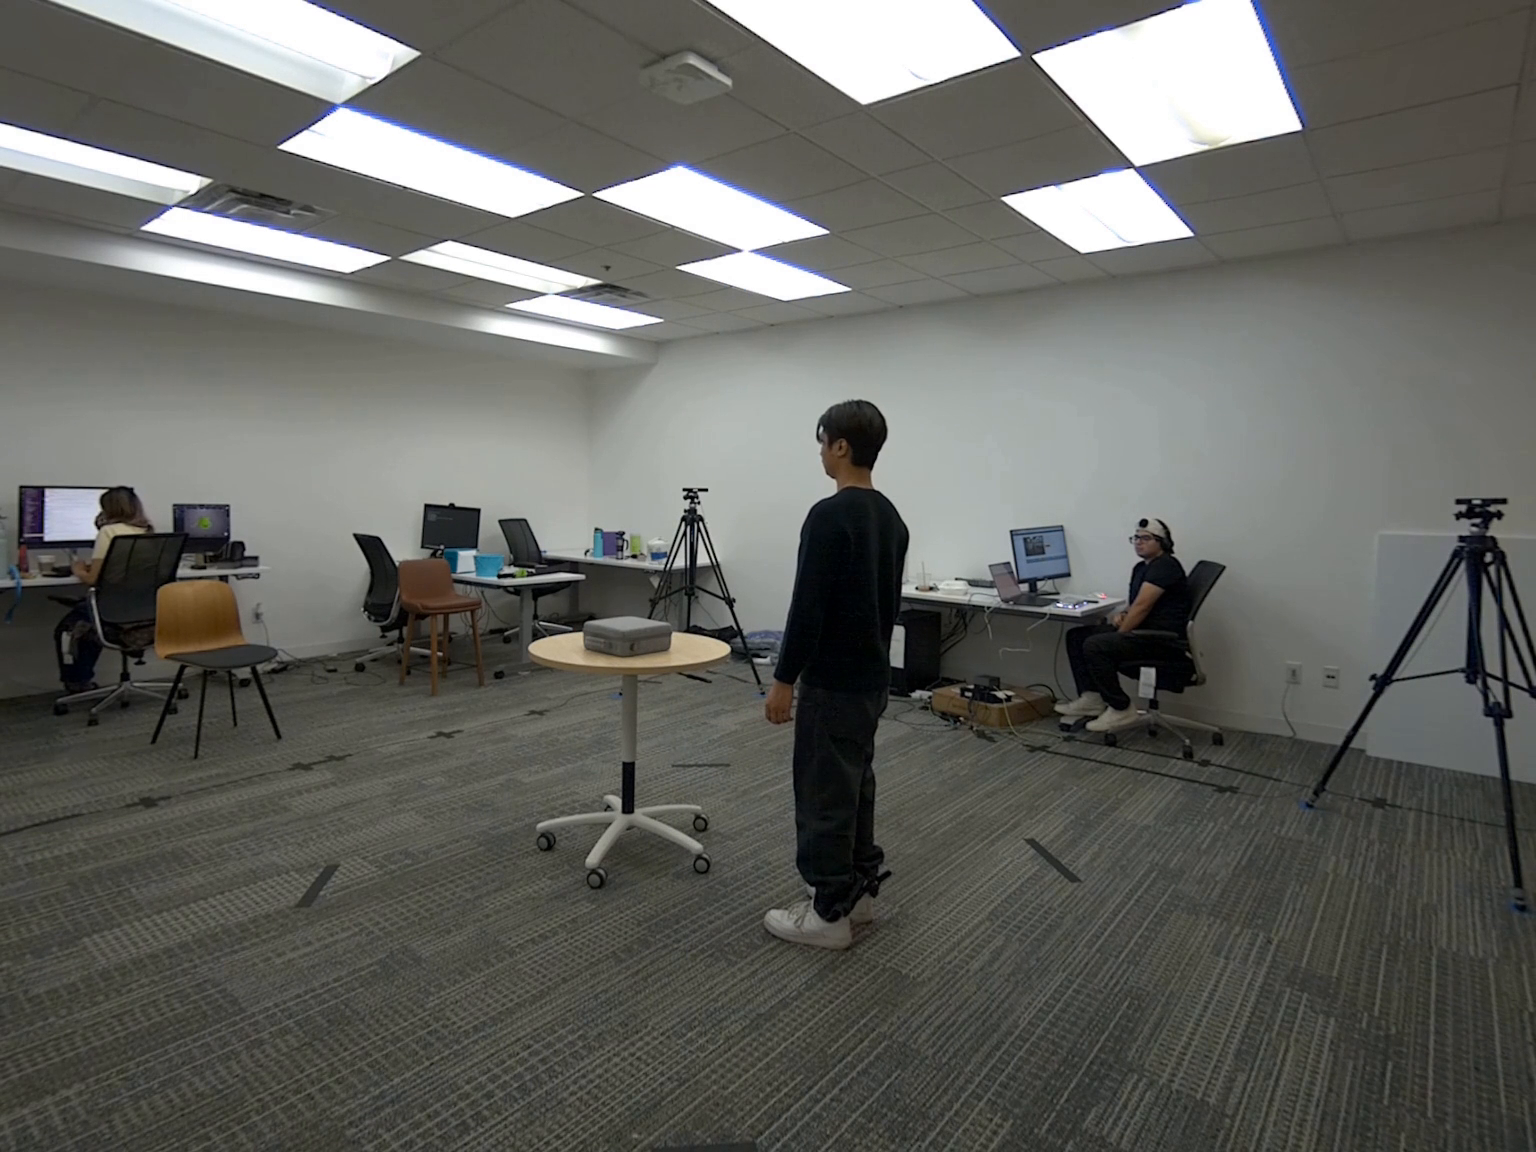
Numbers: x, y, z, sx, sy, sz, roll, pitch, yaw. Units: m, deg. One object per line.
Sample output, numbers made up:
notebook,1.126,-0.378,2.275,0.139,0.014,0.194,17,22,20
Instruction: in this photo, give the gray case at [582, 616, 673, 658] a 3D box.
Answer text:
gray case,-0.538,0.219,3.175,0.266,0.104,0.253,6,8,42
